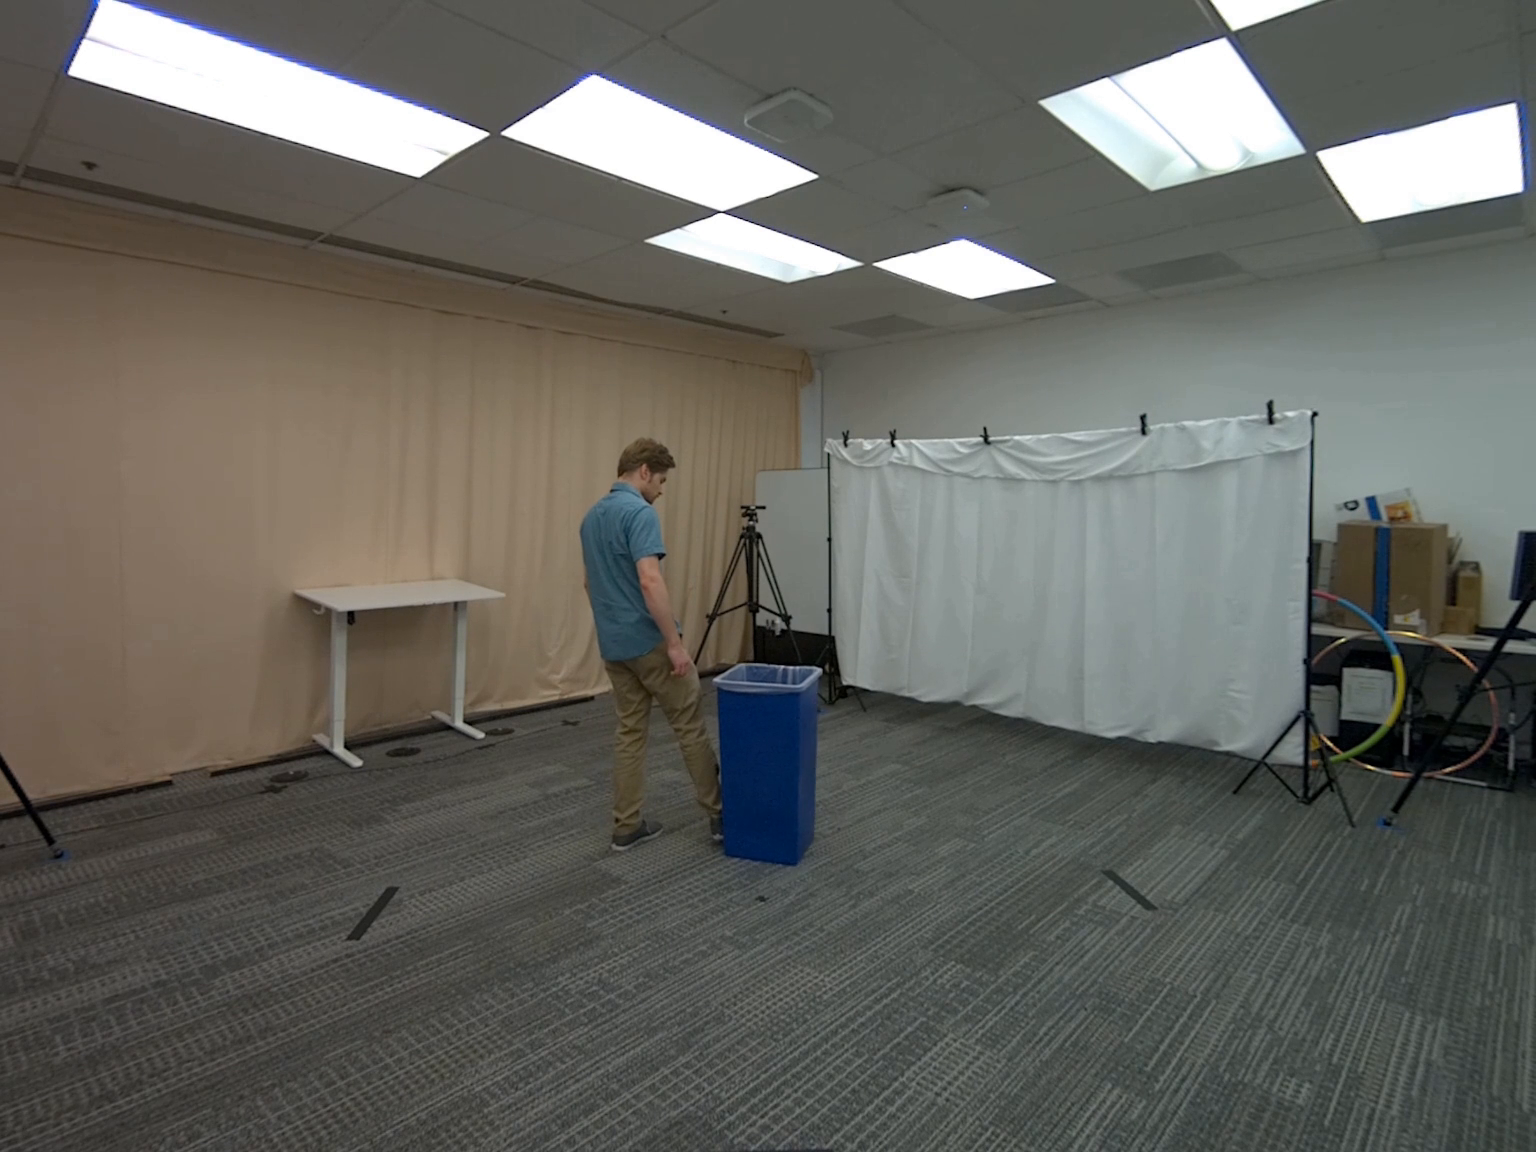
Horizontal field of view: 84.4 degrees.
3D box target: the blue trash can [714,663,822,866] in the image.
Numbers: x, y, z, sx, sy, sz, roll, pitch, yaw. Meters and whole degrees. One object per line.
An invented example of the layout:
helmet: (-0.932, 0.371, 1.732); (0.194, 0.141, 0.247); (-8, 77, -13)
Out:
blue trash can: (0.013, 0.751, 3.408); (0.385, 0.712, 0.367); (1, 3, 18)
